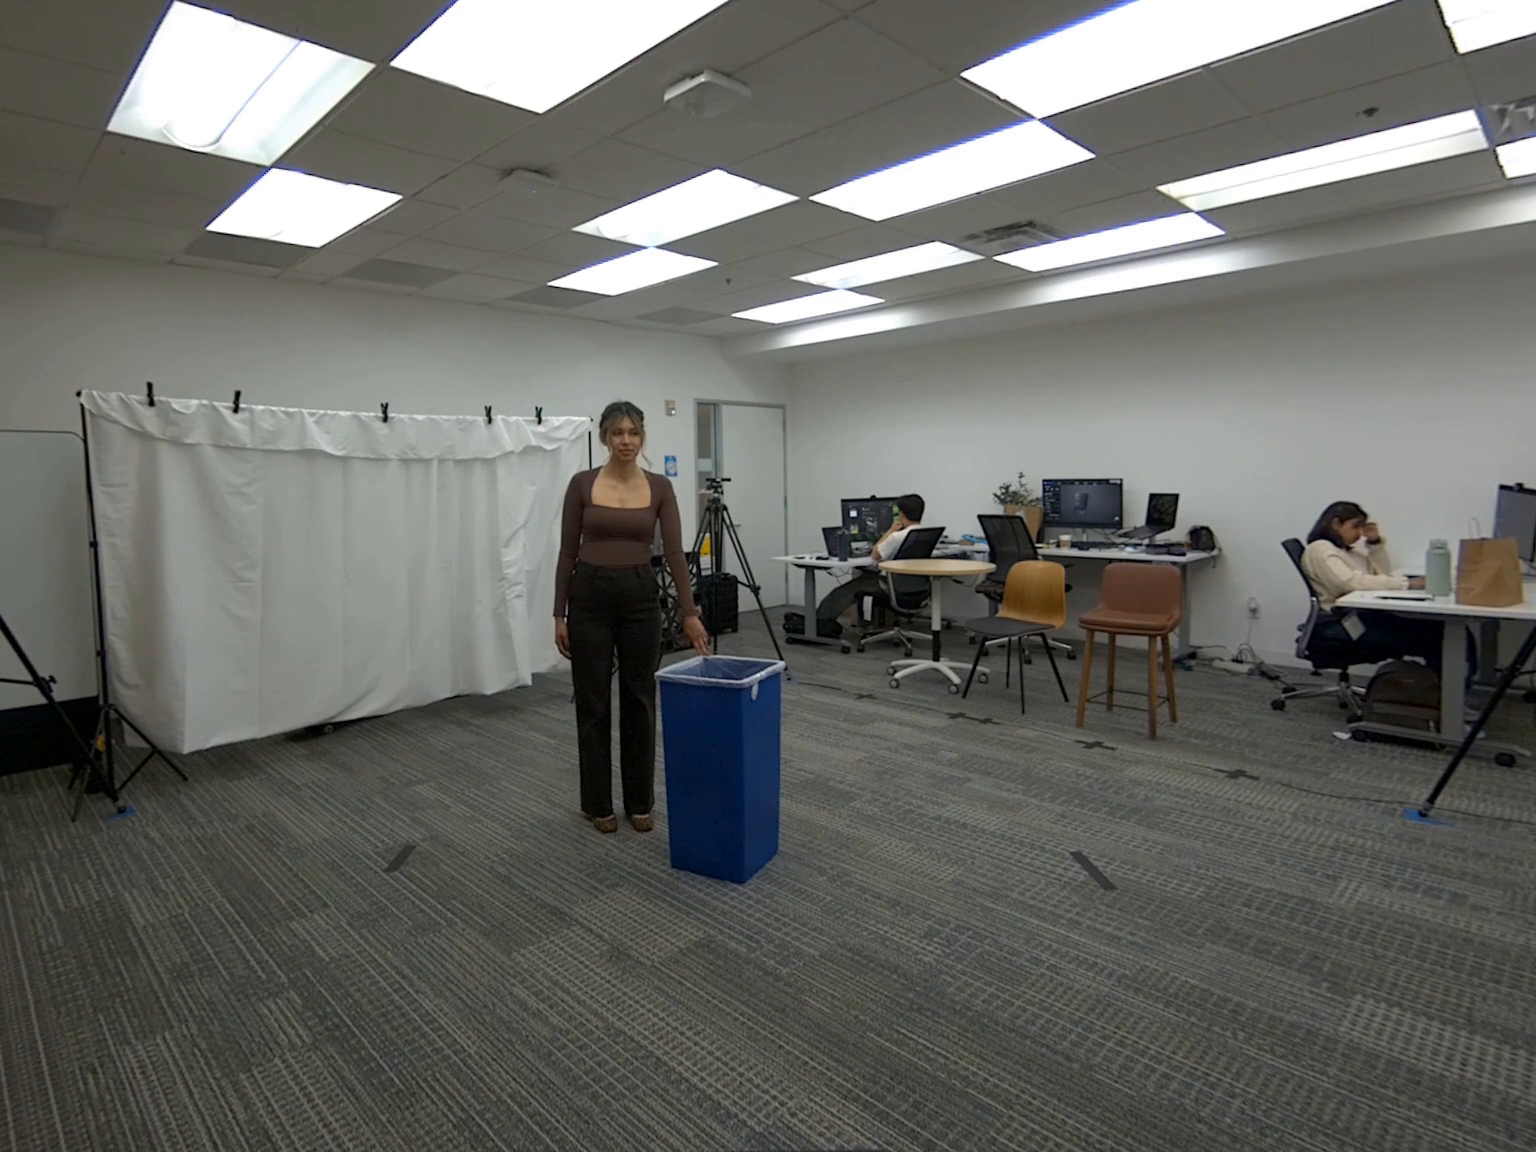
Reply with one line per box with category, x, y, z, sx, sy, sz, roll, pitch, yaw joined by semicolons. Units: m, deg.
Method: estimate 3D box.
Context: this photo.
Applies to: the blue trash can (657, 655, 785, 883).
blue trash can;-0.165;0.684;3.118;0.383;0.711;0.370;2;4;27
